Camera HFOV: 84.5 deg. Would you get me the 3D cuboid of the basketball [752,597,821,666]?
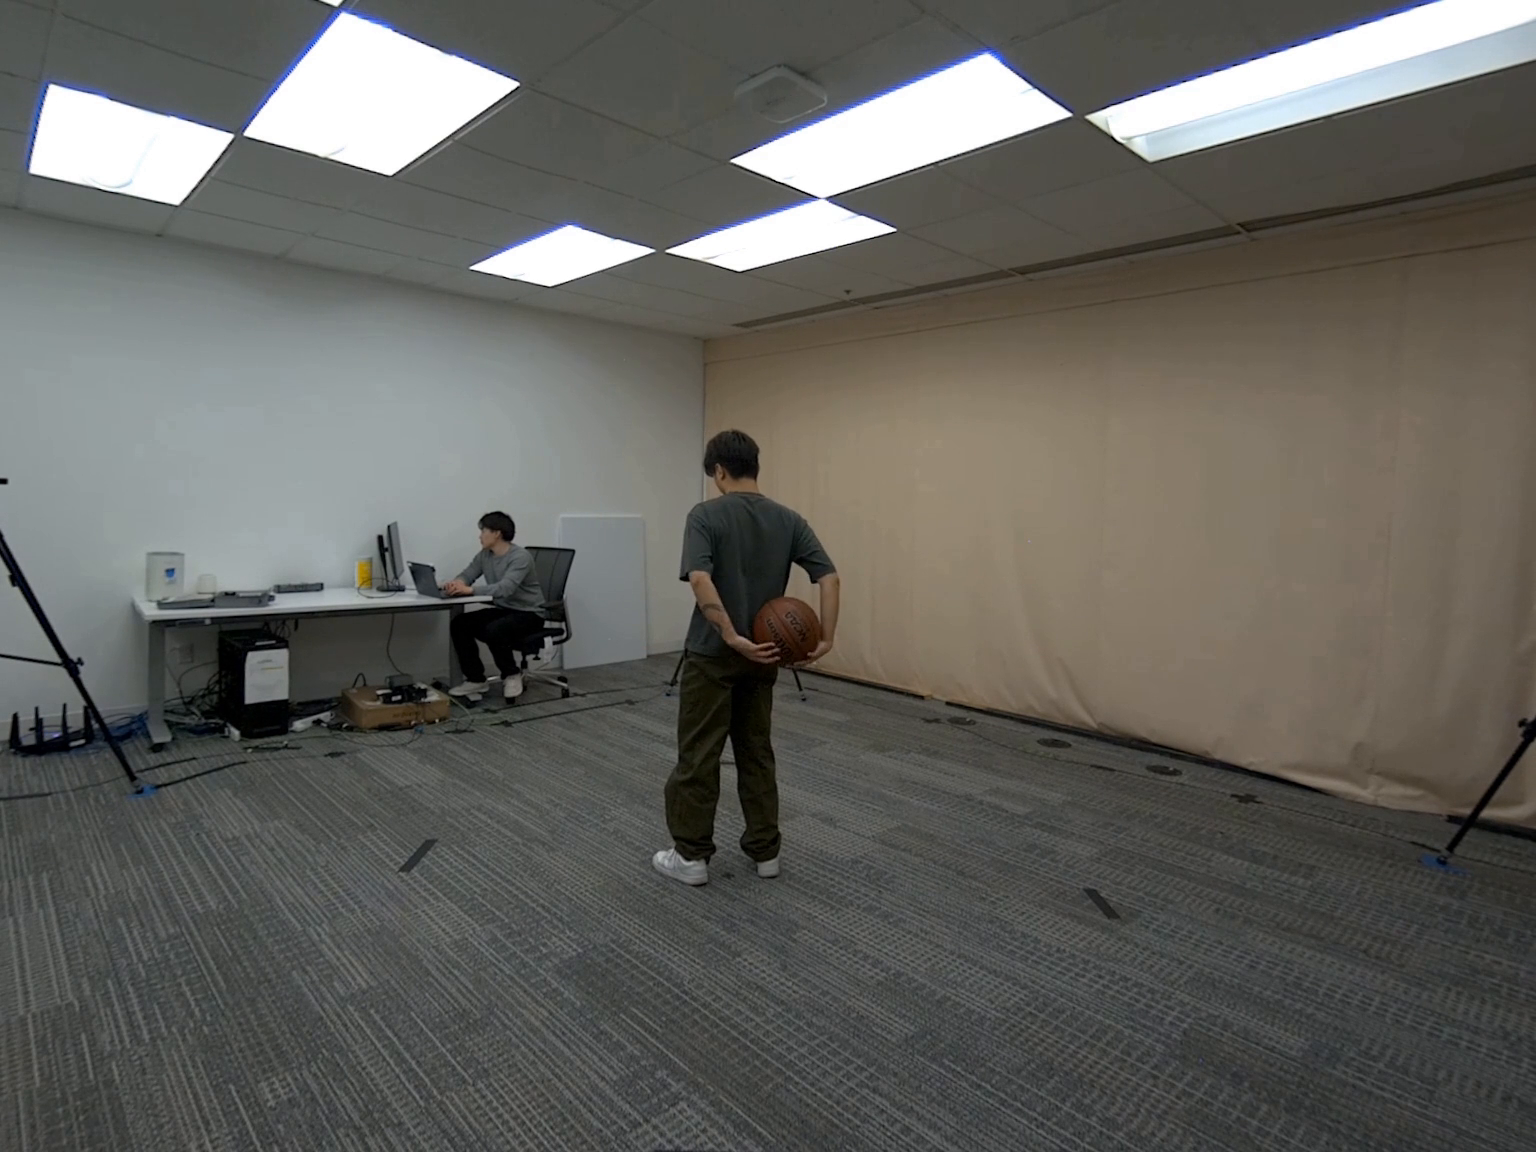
[{"bbox_3d":[0.053,0.190,2.988,0.236,0.235,0.237,1,4,-1],"label":"basketball"}]
